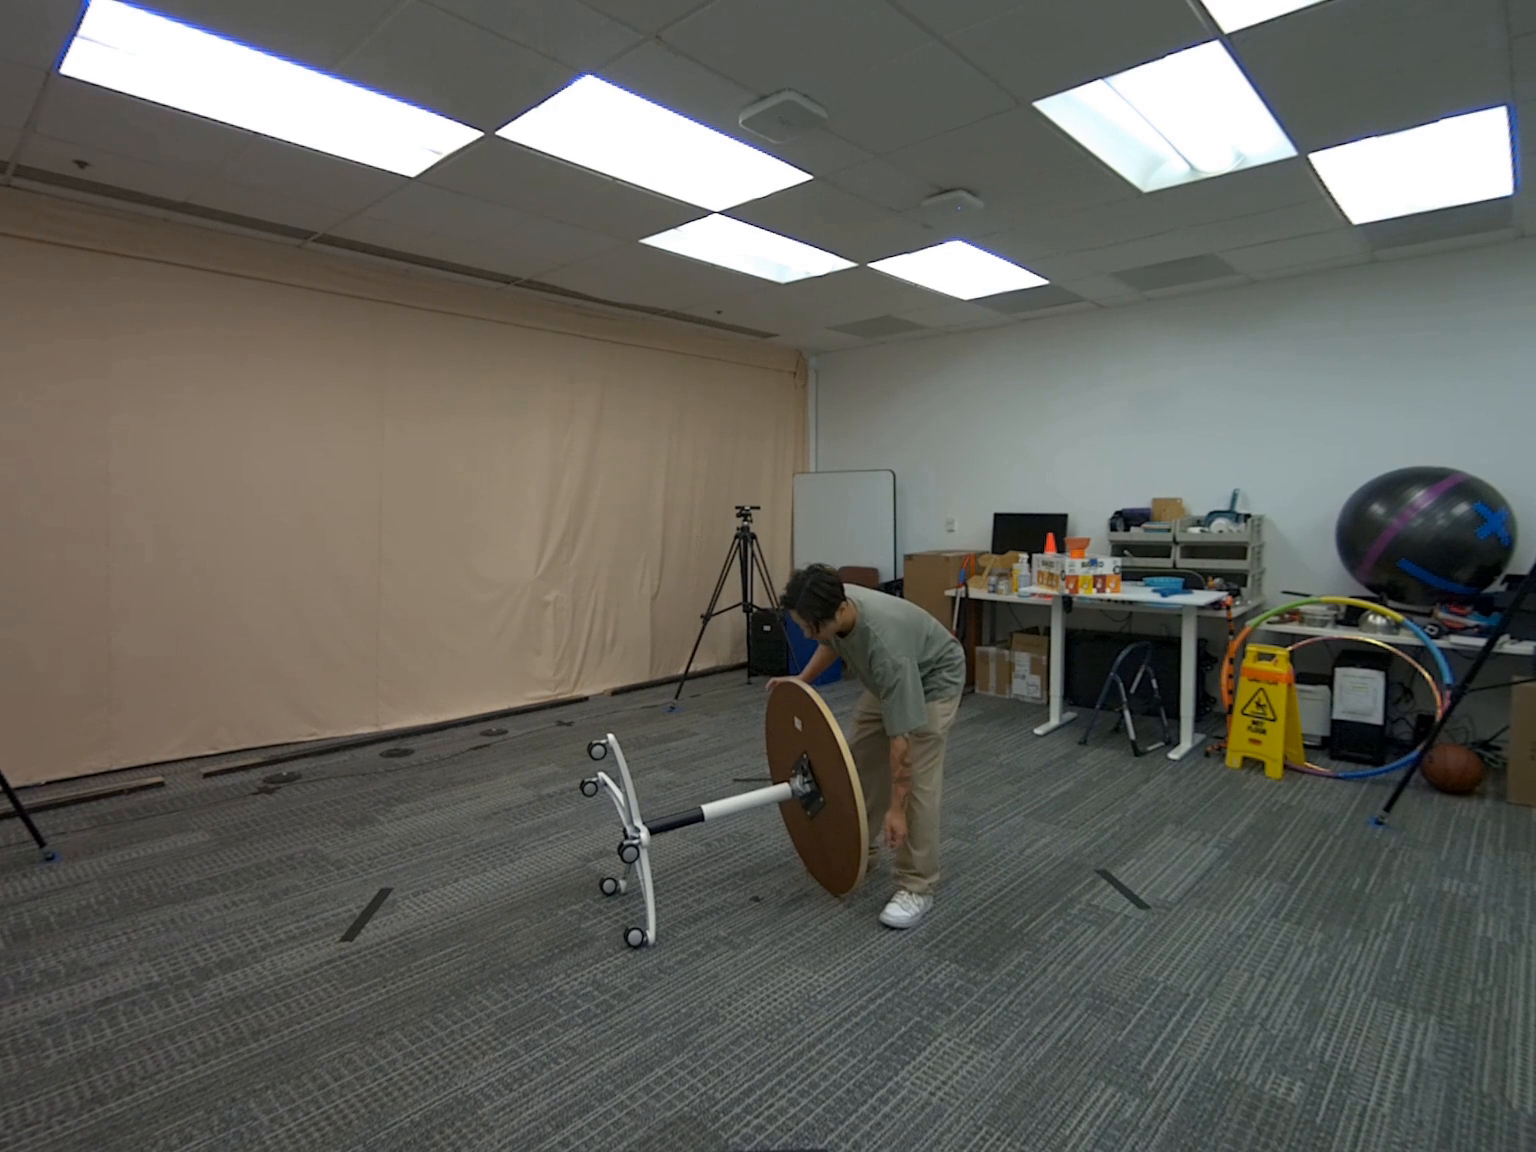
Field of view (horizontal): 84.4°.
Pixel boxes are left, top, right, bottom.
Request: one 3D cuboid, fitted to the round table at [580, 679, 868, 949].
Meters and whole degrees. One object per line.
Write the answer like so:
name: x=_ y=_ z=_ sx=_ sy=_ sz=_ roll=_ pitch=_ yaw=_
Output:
round table: x=-0.192 y=0.814 z=2.944 sx=0.772 sy=0.782 sz=0.803 roll=-9 pitch=6 yaw=-20
